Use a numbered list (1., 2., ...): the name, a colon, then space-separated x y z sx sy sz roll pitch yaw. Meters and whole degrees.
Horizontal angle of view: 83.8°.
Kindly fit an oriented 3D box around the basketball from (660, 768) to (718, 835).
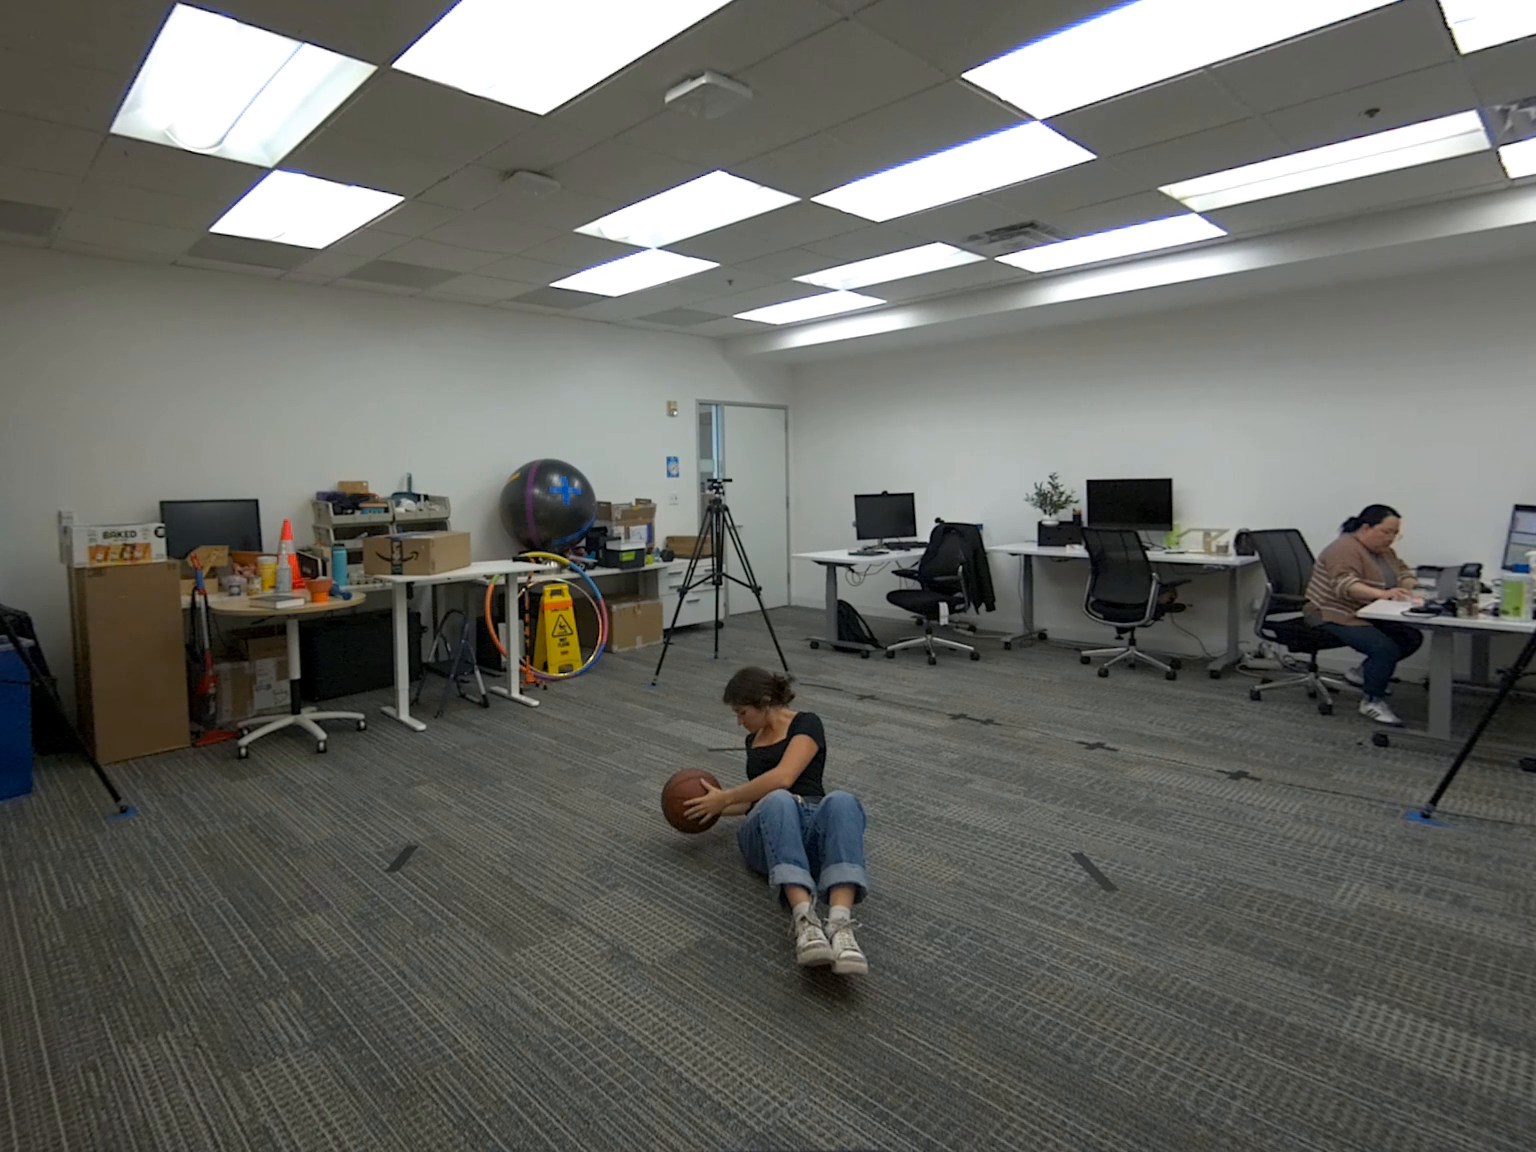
1. basketball: -0.272 0.832 3.218 0.236 0.235 0.237 -1 5 -2
